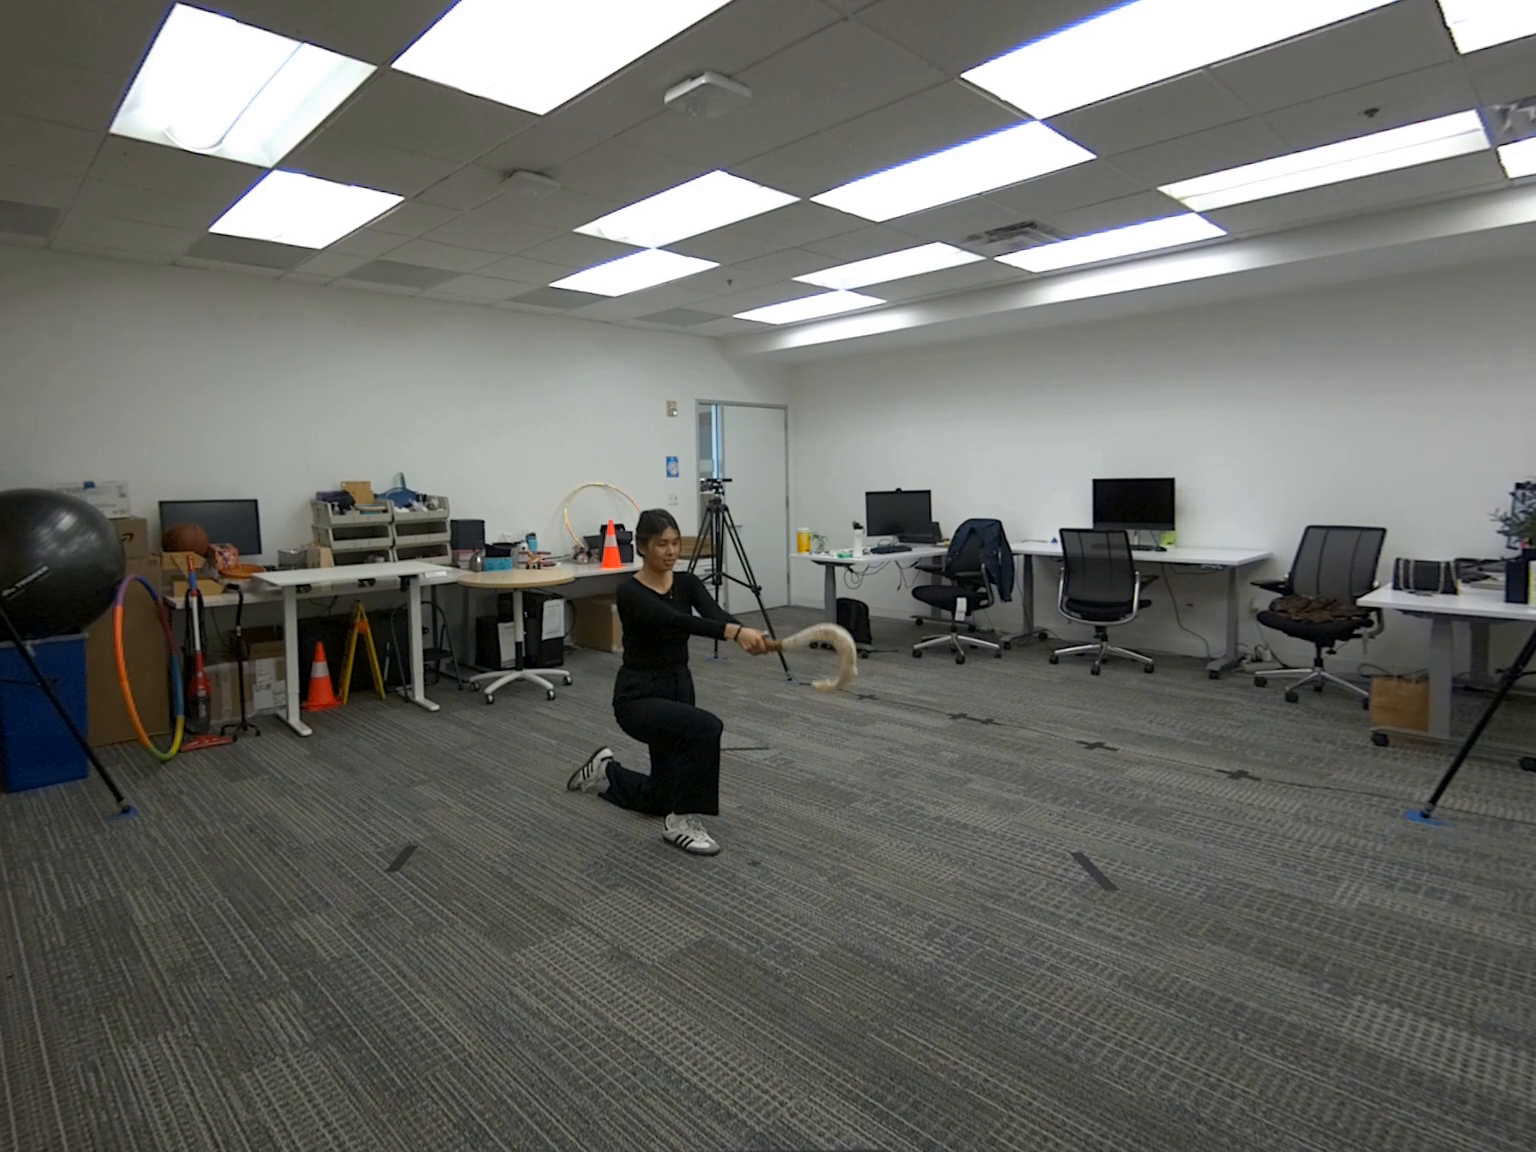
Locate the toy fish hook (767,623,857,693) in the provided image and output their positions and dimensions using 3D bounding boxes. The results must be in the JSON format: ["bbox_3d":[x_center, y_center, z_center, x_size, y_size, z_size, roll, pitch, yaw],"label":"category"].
[{"bbox_3d":[0.084,0.267,2.954,0.047,0.226,0.519,4,-8,-45],"label":"toy fish hook"}]
